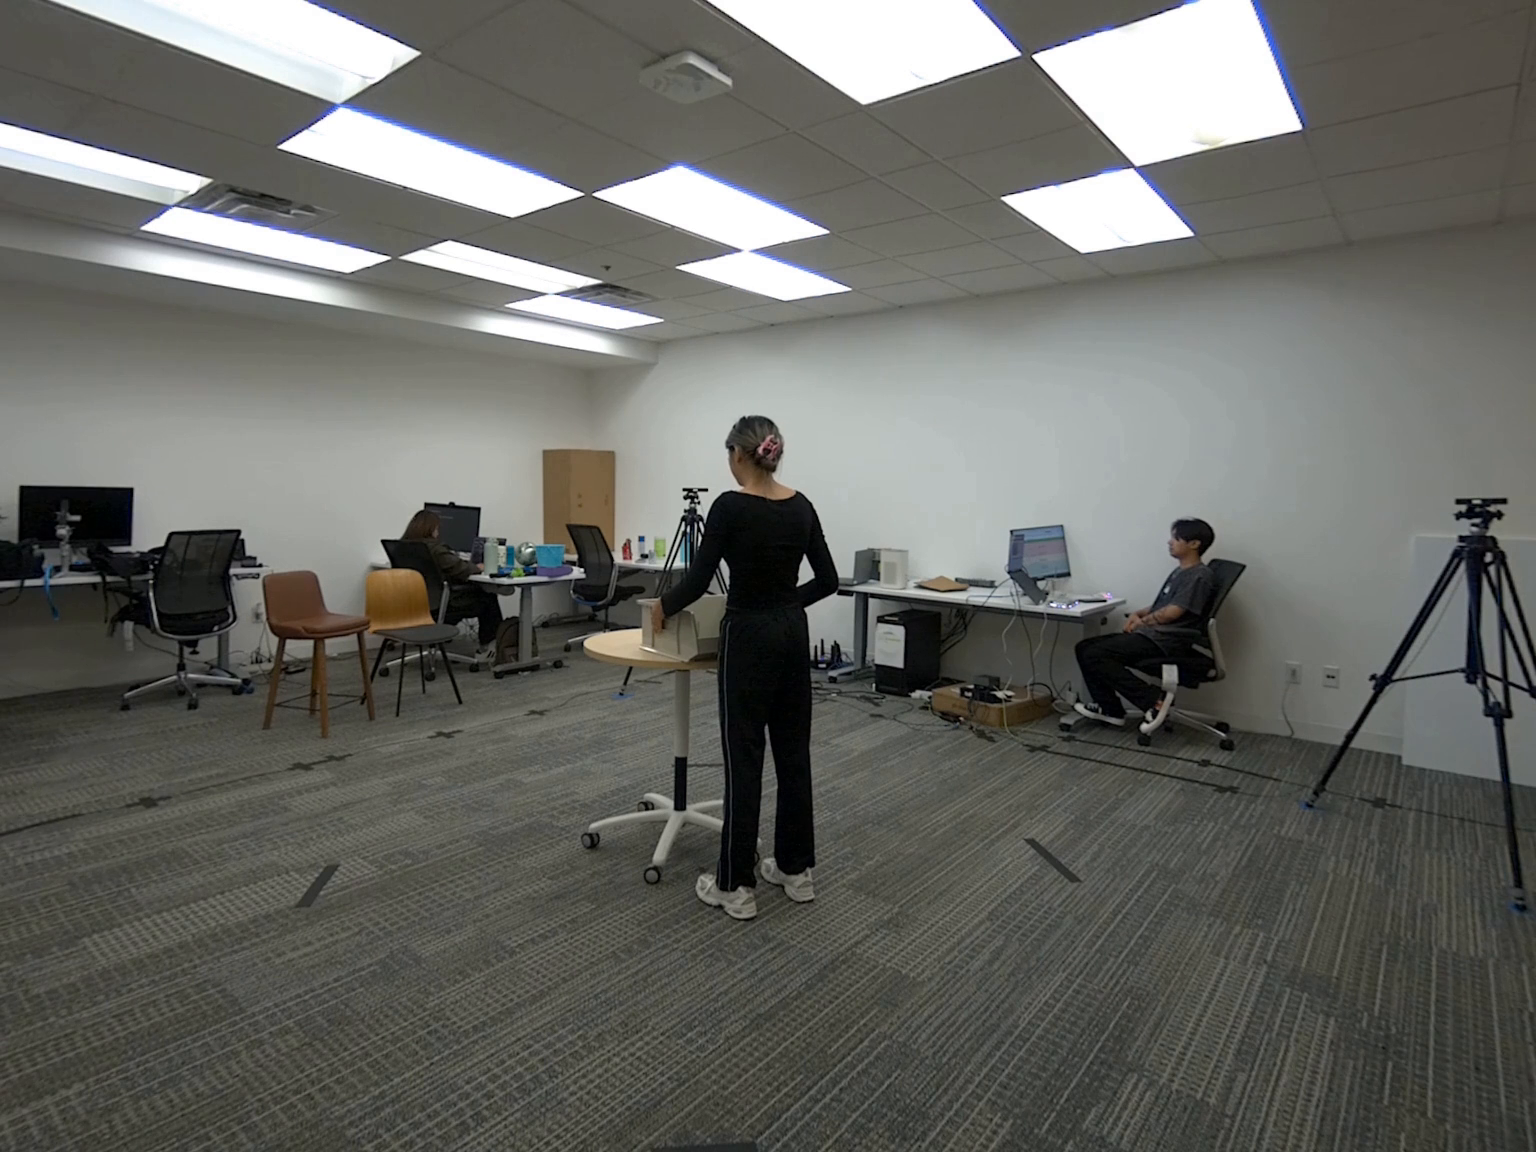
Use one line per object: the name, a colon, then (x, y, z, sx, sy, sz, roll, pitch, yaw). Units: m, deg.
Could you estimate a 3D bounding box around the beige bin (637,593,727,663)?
beige bin: (-0.208, 0.179, 3.124, 0.410, 0.189, 0.389, -3, 4, -38)
